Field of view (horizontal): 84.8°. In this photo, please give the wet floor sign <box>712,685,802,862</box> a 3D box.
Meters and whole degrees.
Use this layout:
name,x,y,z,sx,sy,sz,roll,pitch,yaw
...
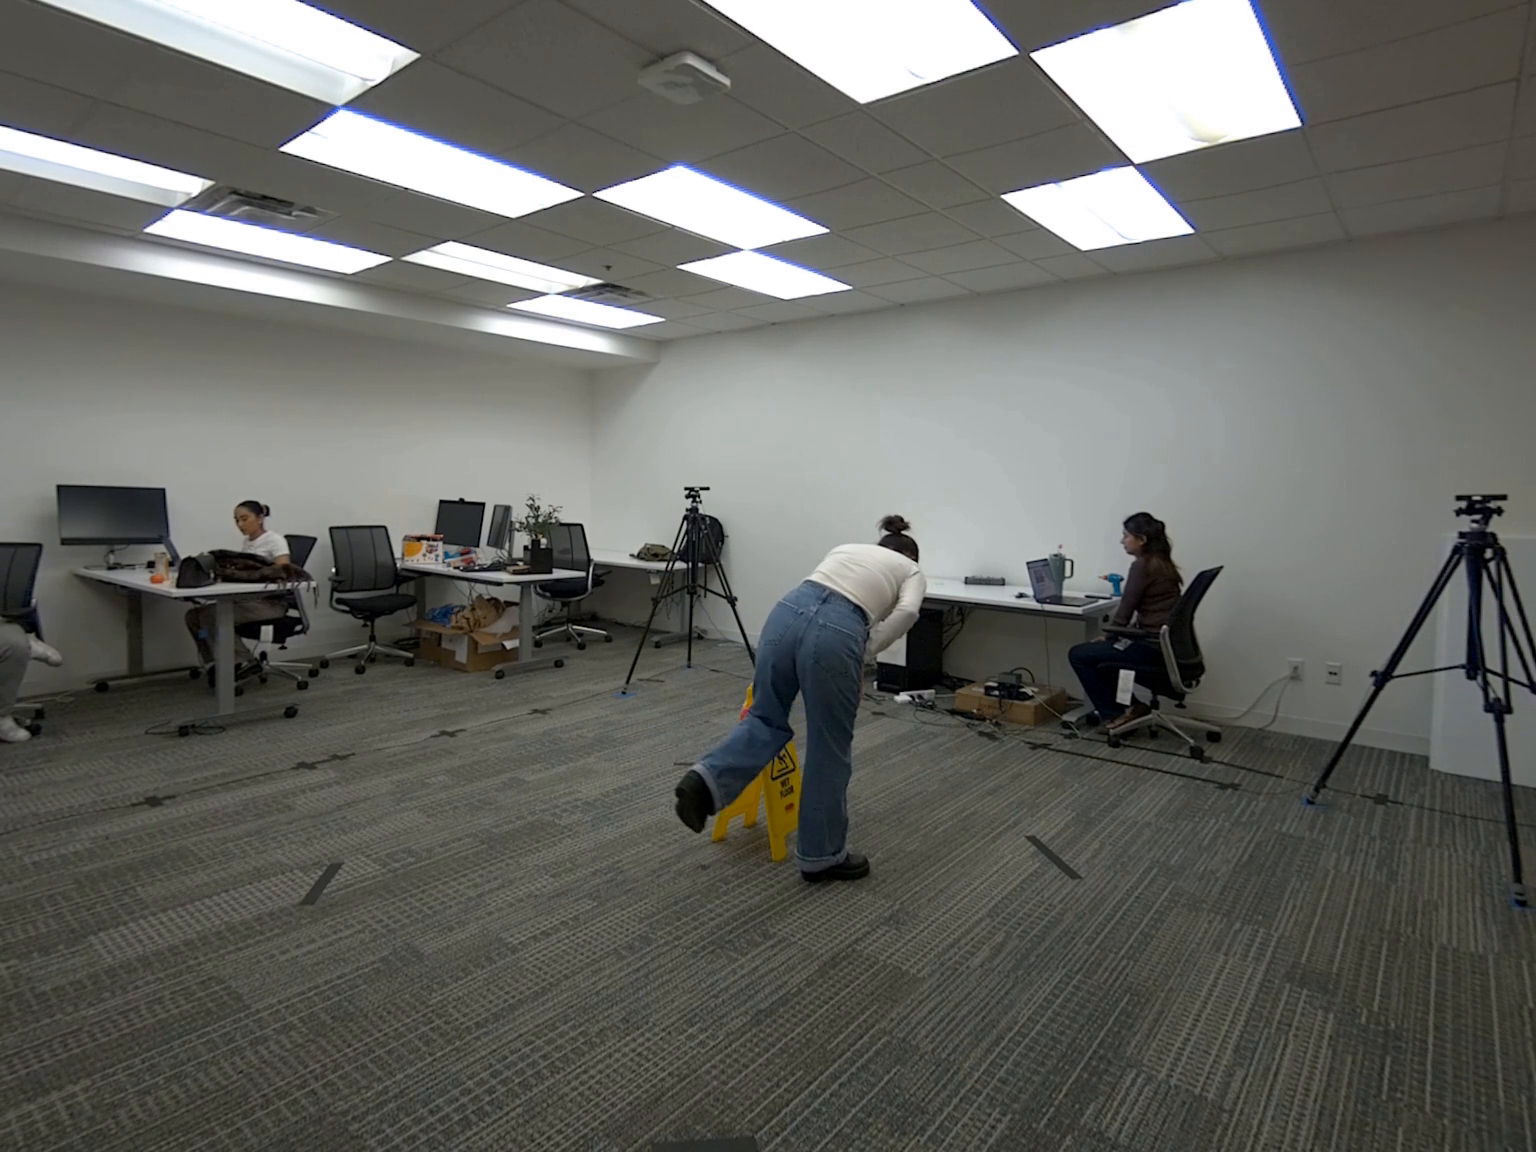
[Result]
name,x,y,z,sx,sy,sz,roll,pitch,yaw
wet floor sign,-0.021,0.720,3.349,0.299,0.644,0.274,3,4,35
